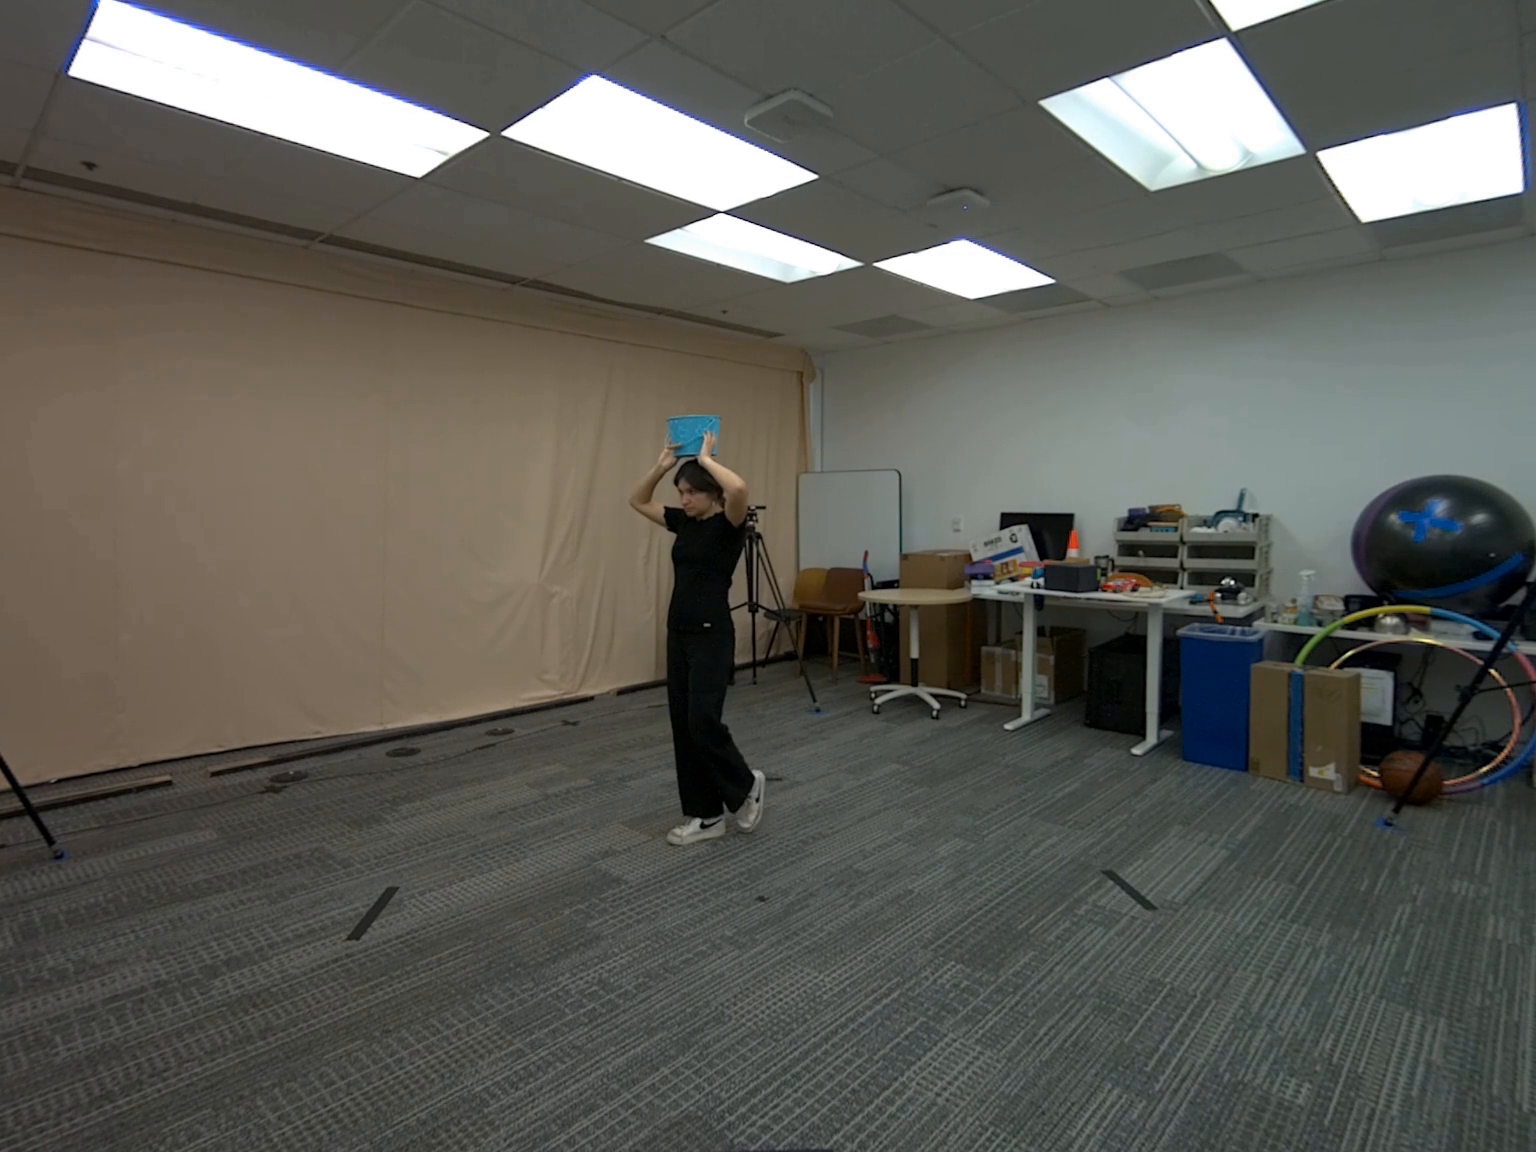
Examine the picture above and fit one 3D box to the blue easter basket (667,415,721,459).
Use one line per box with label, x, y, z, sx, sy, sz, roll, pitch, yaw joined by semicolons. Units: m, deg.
blue easter basket;-0.311;-0.572;3.479;0.243;0.156;0.244;-1;2;-2
